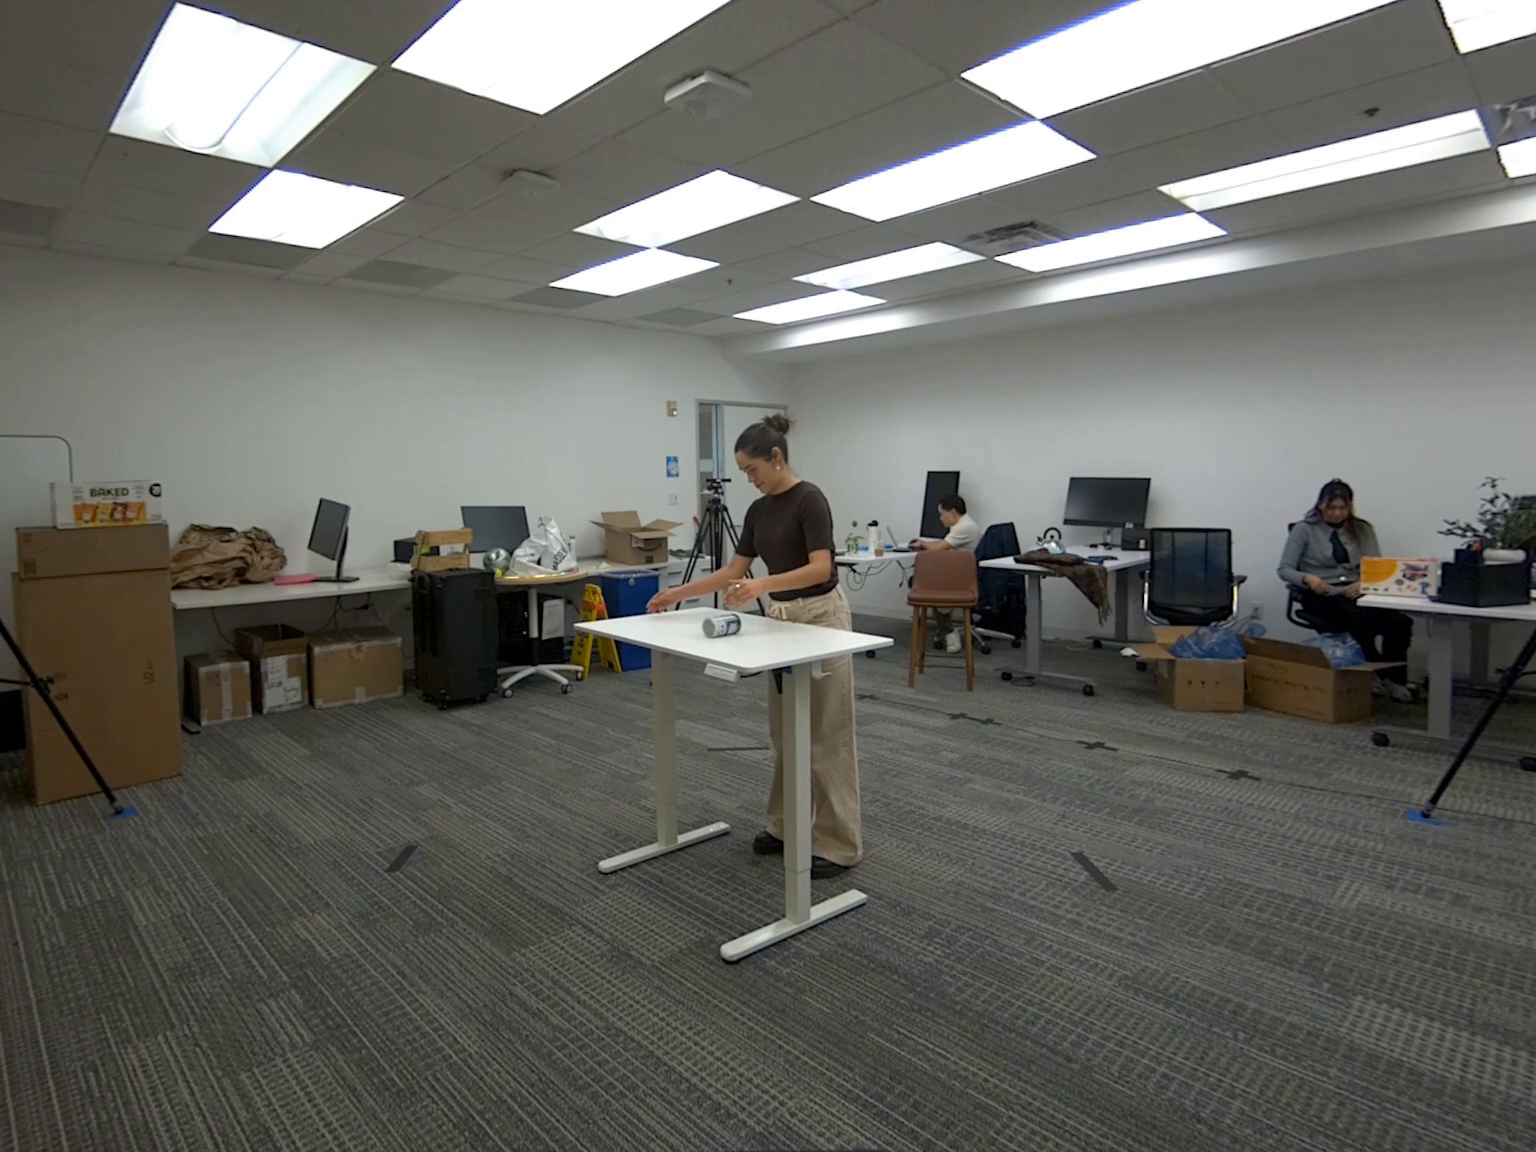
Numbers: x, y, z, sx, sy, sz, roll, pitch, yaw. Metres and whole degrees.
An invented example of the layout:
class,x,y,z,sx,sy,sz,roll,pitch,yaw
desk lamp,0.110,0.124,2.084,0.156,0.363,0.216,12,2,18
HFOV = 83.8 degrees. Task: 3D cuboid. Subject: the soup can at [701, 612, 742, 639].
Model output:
class,x,y,z,sx,sy,sz,roll,pitch,yaw
soup can,-0.149,0.164,2.808,0.118,0.067,0.069,-4,5,-45
